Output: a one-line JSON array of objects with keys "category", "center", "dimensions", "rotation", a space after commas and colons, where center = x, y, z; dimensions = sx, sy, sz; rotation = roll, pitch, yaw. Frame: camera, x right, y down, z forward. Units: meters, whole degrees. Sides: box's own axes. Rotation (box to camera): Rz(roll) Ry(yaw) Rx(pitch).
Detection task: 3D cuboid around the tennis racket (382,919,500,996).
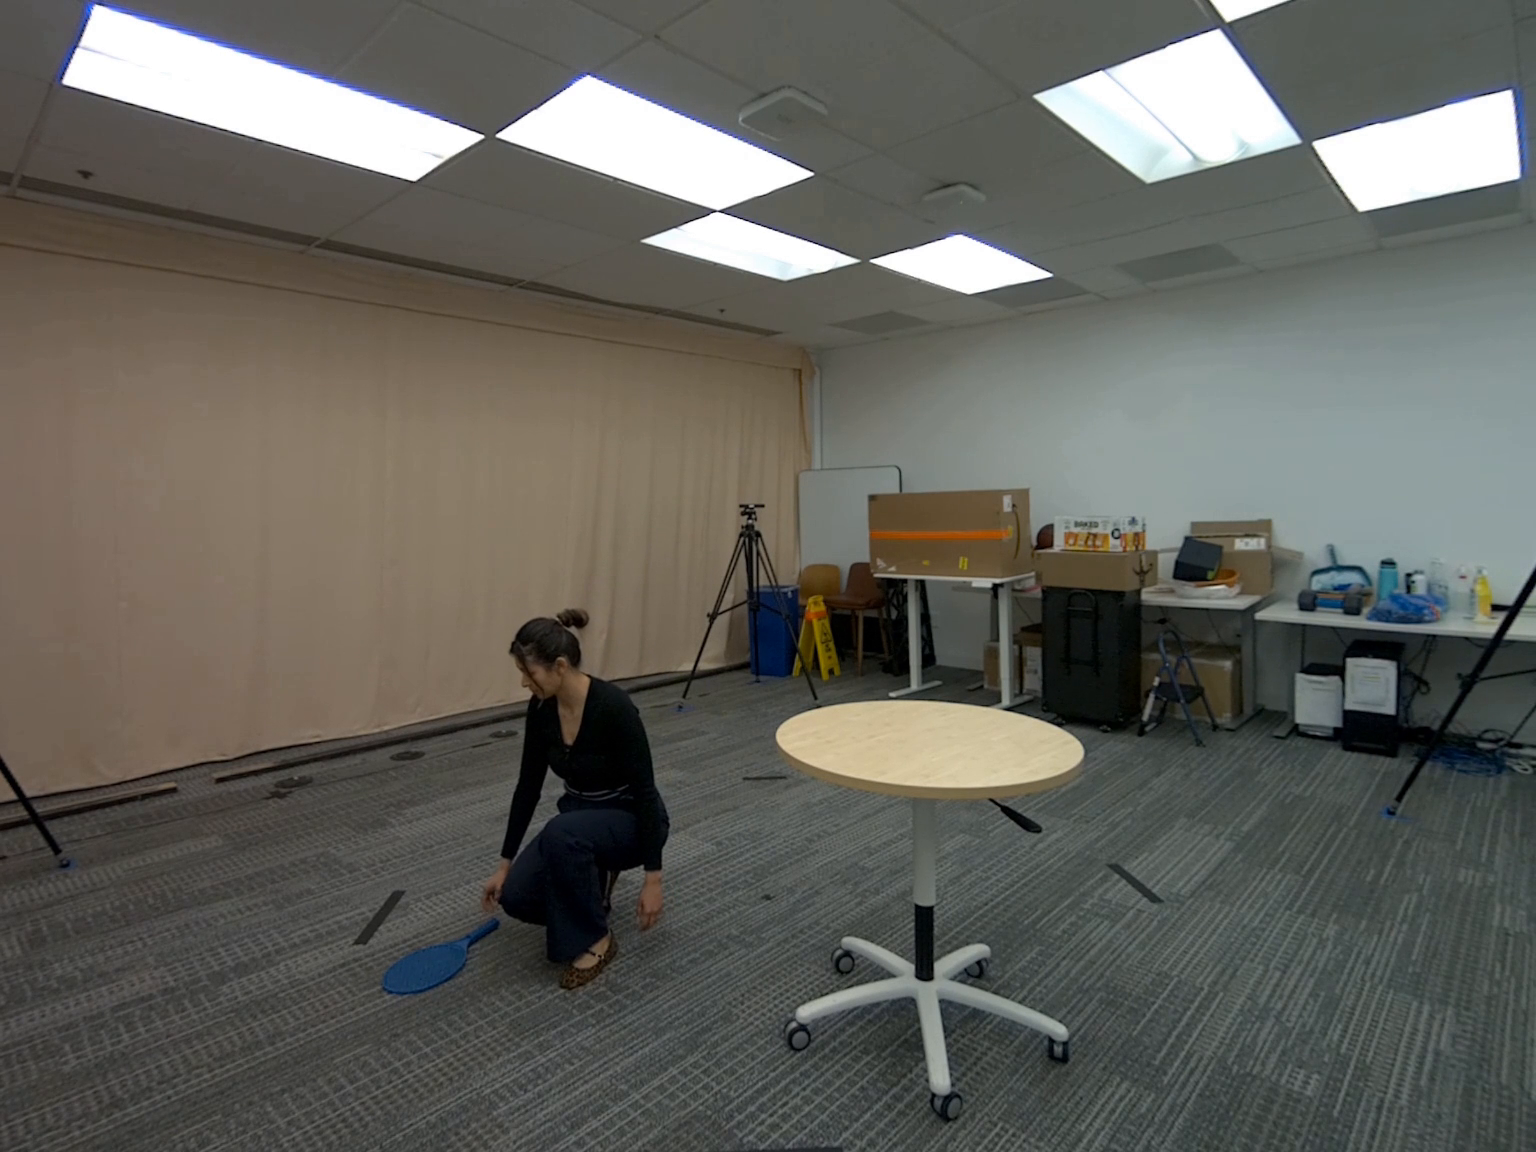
[{"category": "tennis racket", "center": [-1.006, 1.185, 2.629], "dimensions": [0.219, 0.031, 0.423], "rotation": [-1, 6, 26]}]
